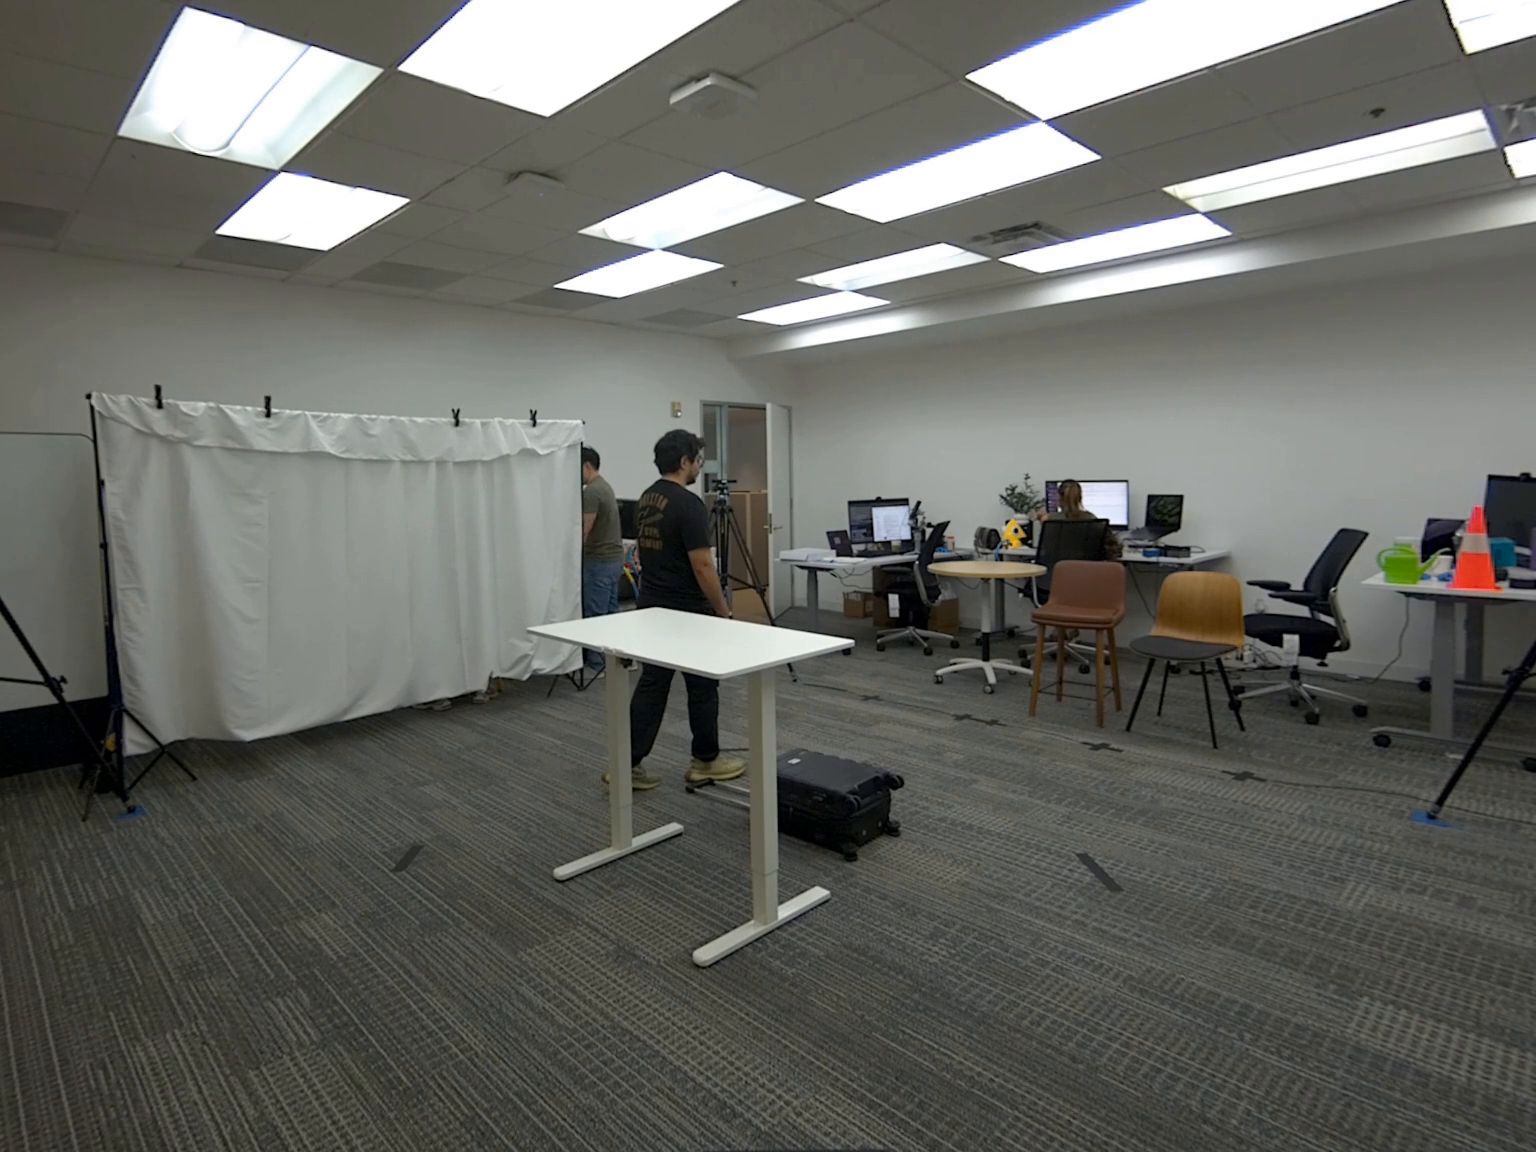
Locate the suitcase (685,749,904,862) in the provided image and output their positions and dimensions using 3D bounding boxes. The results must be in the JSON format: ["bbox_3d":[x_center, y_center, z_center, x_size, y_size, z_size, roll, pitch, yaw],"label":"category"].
[{"bbox_3d":[0.063,0.867,3.563,1.010,0.255,0.374,7,11,41],"label":"suitcase"}]
